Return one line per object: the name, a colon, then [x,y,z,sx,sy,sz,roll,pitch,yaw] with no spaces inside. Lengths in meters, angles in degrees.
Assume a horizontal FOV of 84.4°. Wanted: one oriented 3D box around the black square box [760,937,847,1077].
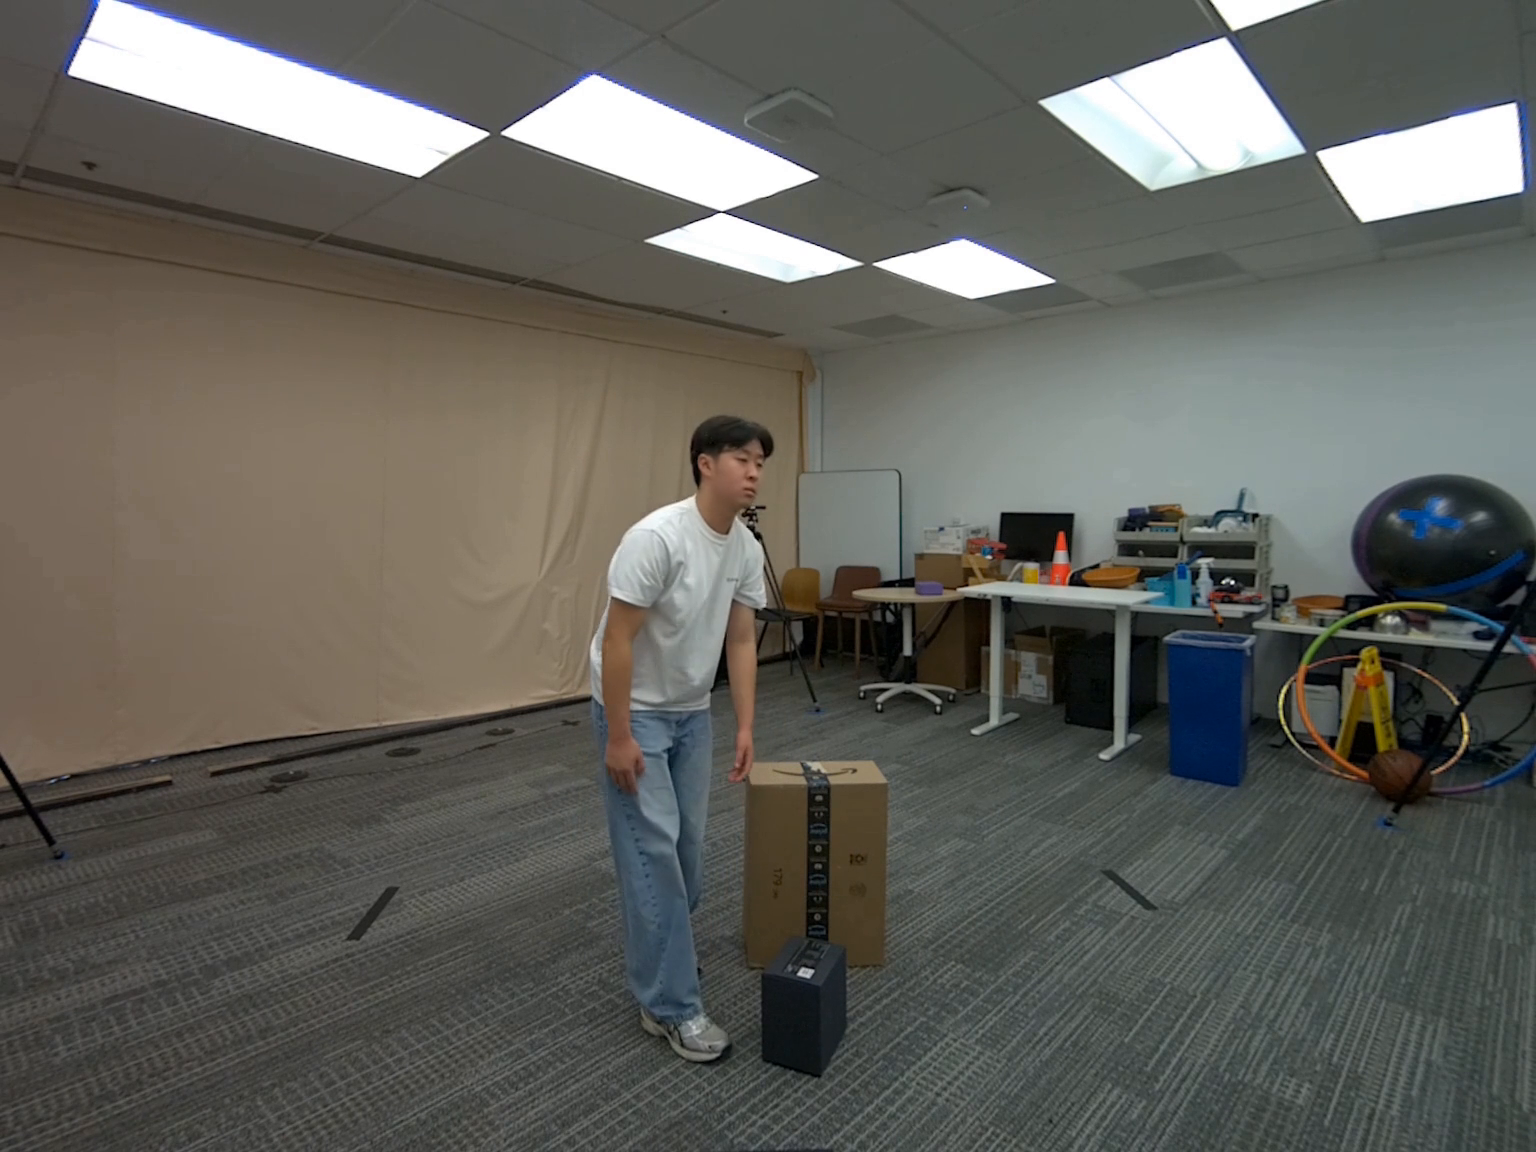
black square box: [0.095,1.088,2.163,0.160,0.227,0.212,2,3,23]
